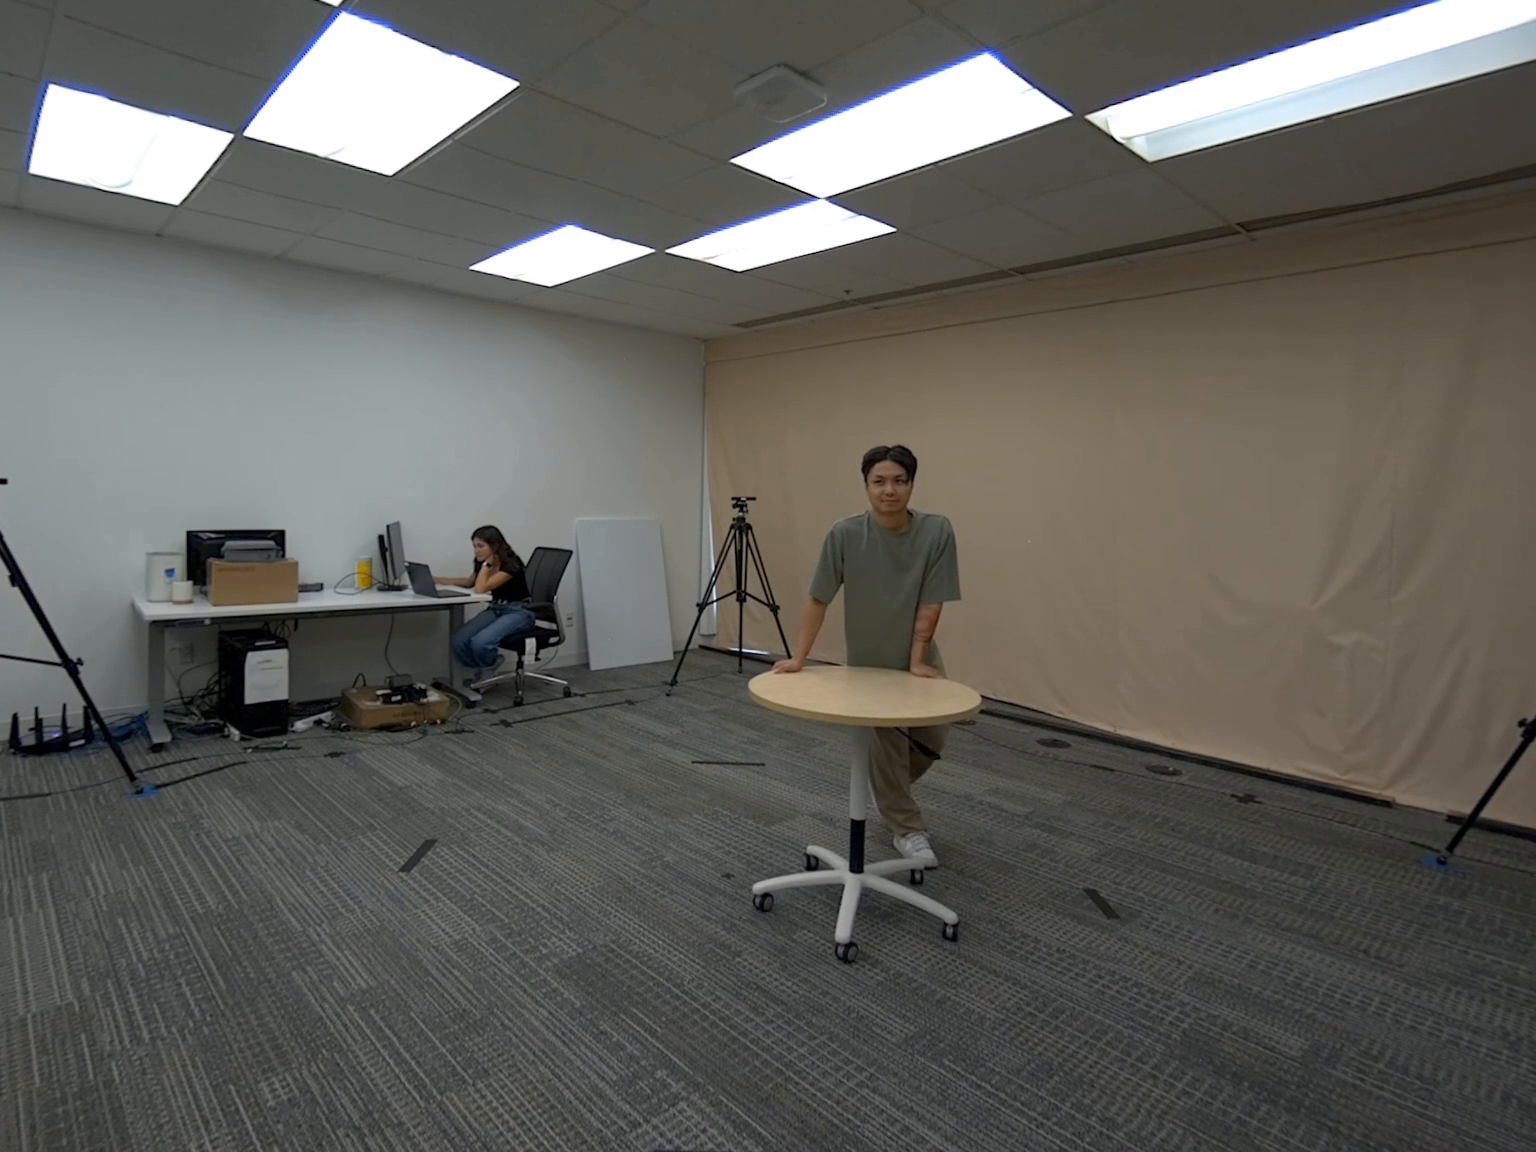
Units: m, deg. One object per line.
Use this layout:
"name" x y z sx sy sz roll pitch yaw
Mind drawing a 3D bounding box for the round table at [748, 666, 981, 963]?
"round table" 0.284 0.757 2.845 0.784 0.784 0.788 2 4 -1
